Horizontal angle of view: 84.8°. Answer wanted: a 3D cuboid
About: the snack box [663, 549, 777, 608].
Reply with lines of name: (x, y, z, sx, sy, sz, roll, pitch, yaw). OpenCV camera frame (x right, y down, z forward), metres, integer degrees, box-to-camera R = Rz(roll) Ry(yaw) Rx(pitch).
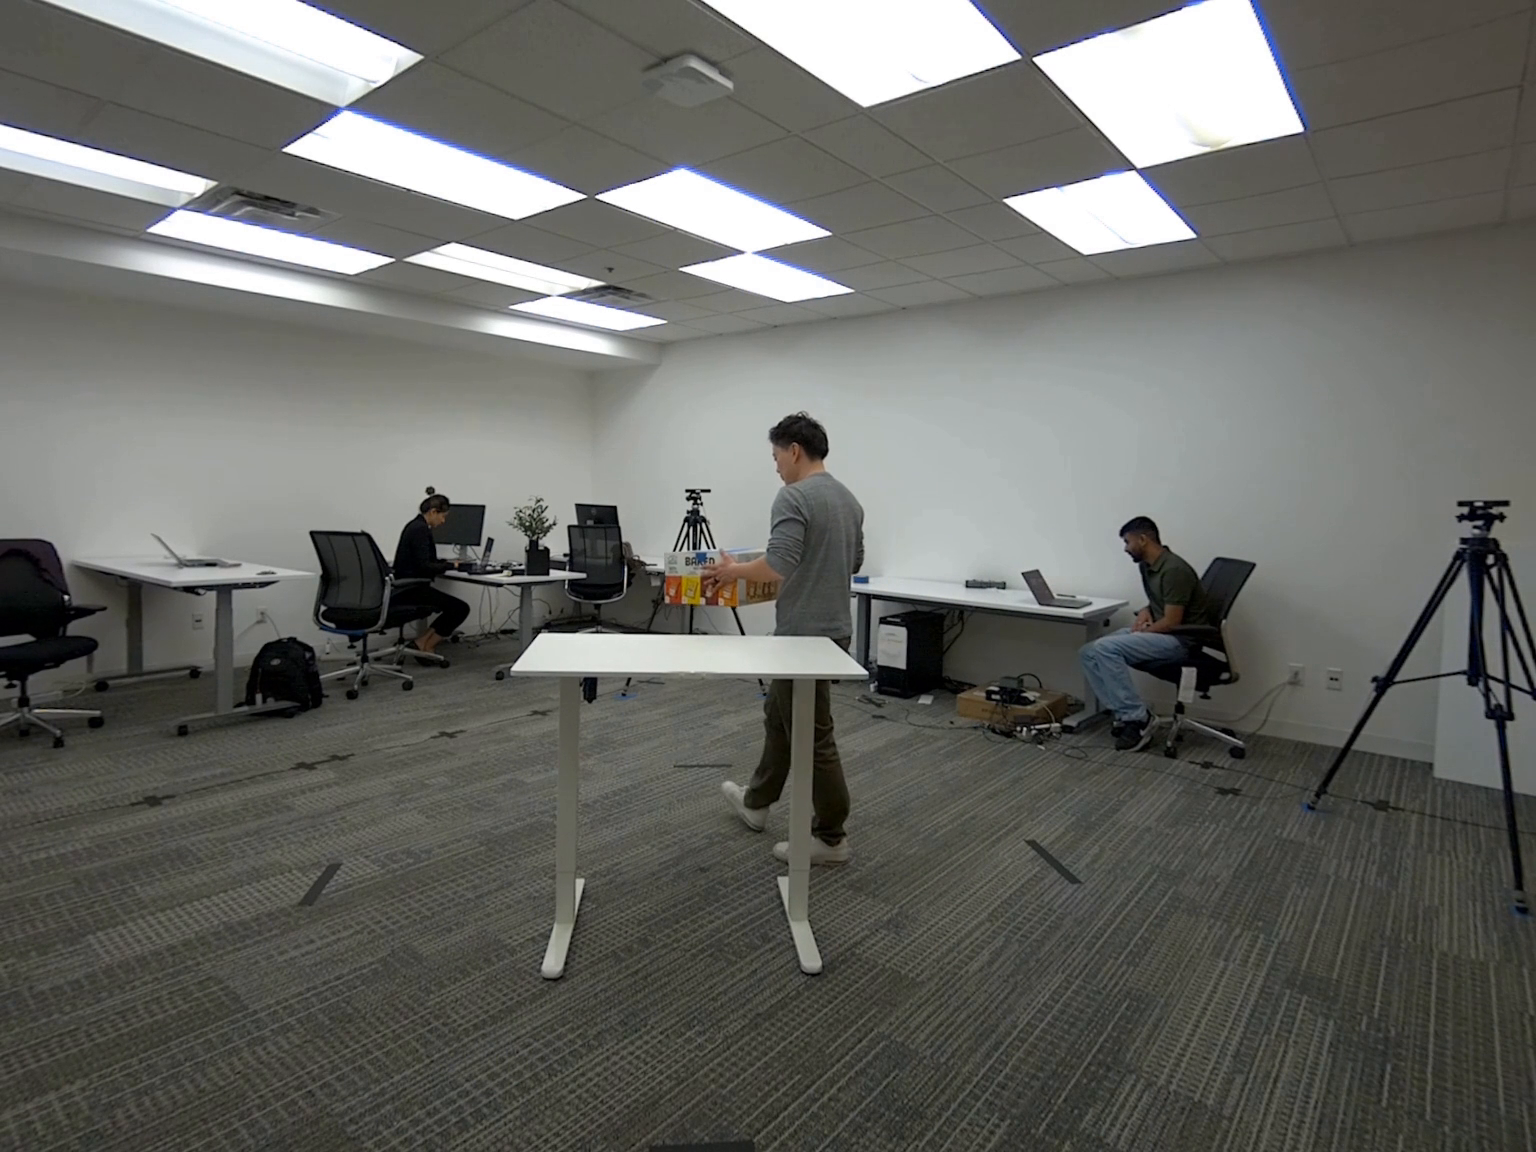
snack box: (-0.181, -0.005, 3.438, 0.350, 0.205, 0.394, 1, 4, 30)
